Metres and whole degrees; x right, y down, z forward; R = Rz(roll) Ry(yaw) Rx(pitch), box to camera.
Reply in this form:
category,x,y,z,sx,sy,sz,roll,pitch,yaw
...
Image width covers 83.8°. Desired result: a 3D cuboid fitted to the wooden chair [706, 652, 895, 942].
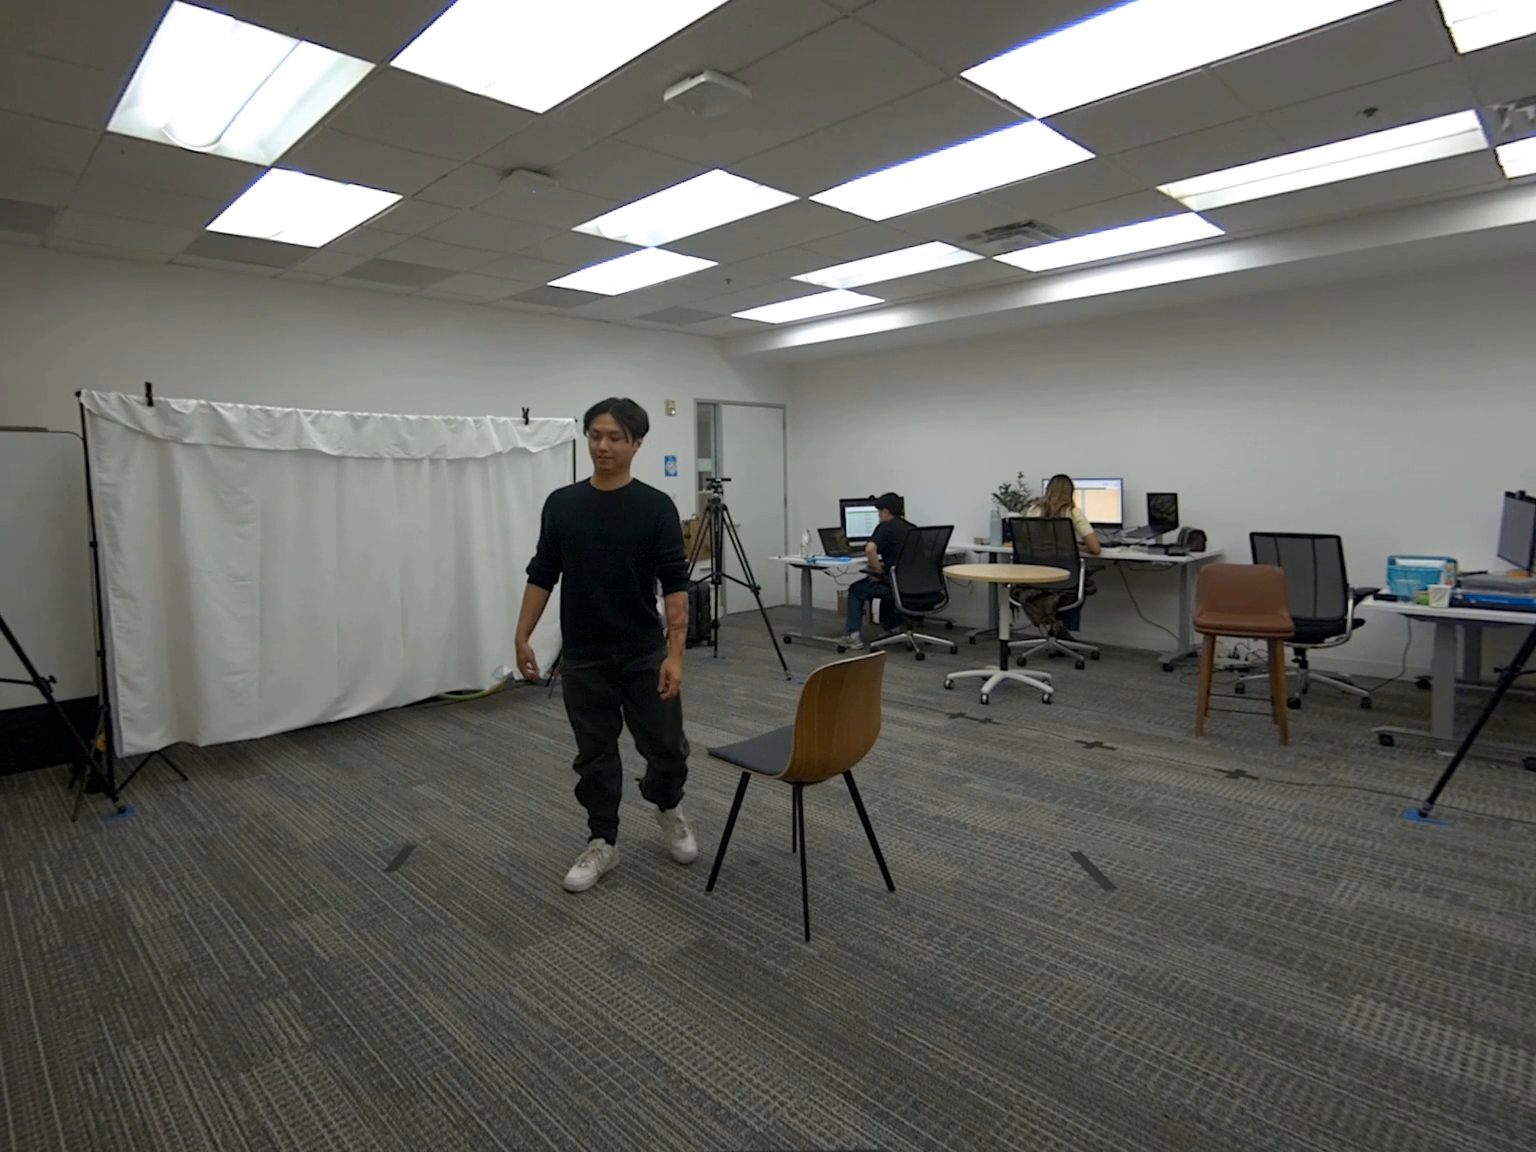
category,x,y,z,sx,sy,sz,roll,pitch,yaw
wooden chair,0.093,0.640,2.858,0.465,0.872,0.540,-5,10,-44
